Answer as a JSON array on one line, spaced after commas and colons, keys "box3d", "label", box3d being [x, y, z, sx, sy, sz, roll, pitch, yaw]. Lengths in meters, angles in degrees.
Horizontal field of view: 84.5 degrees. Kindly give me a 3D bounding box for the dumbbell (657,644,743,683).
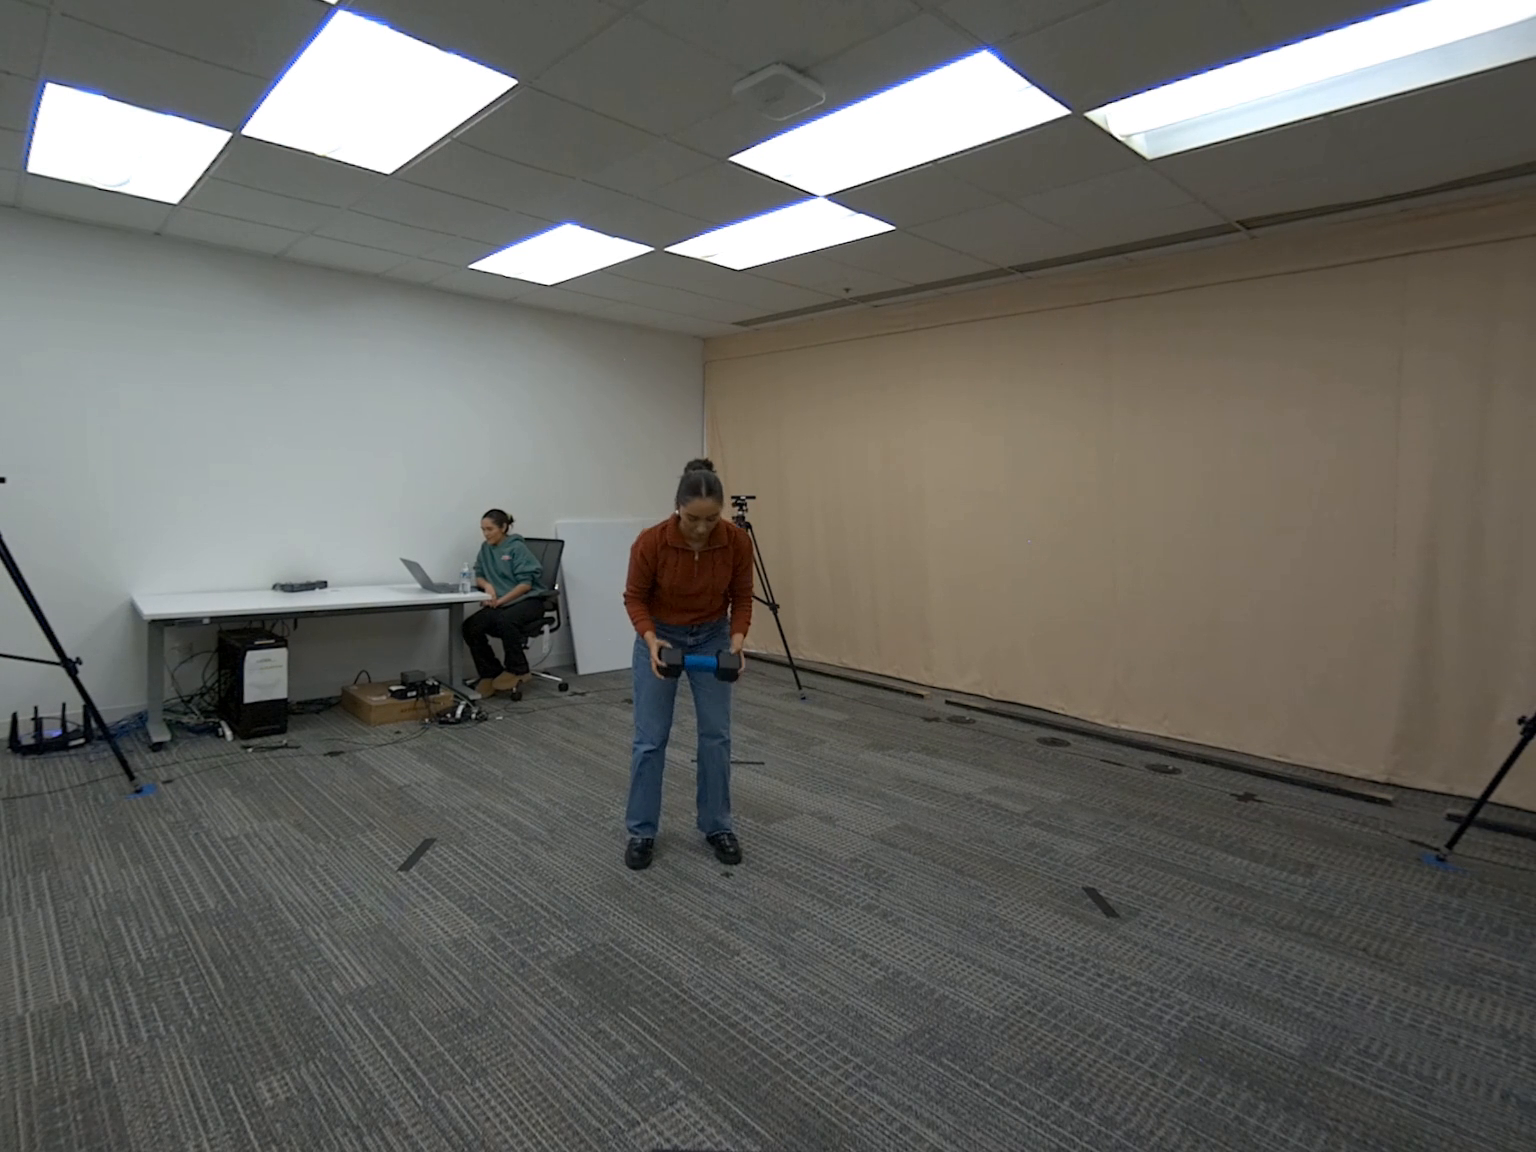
[{"box3d": [-0.268, 0.317, 3.039, 0.290, 0.109, 0.124, 6, 0, -14], "label": "dumbbell"}]
